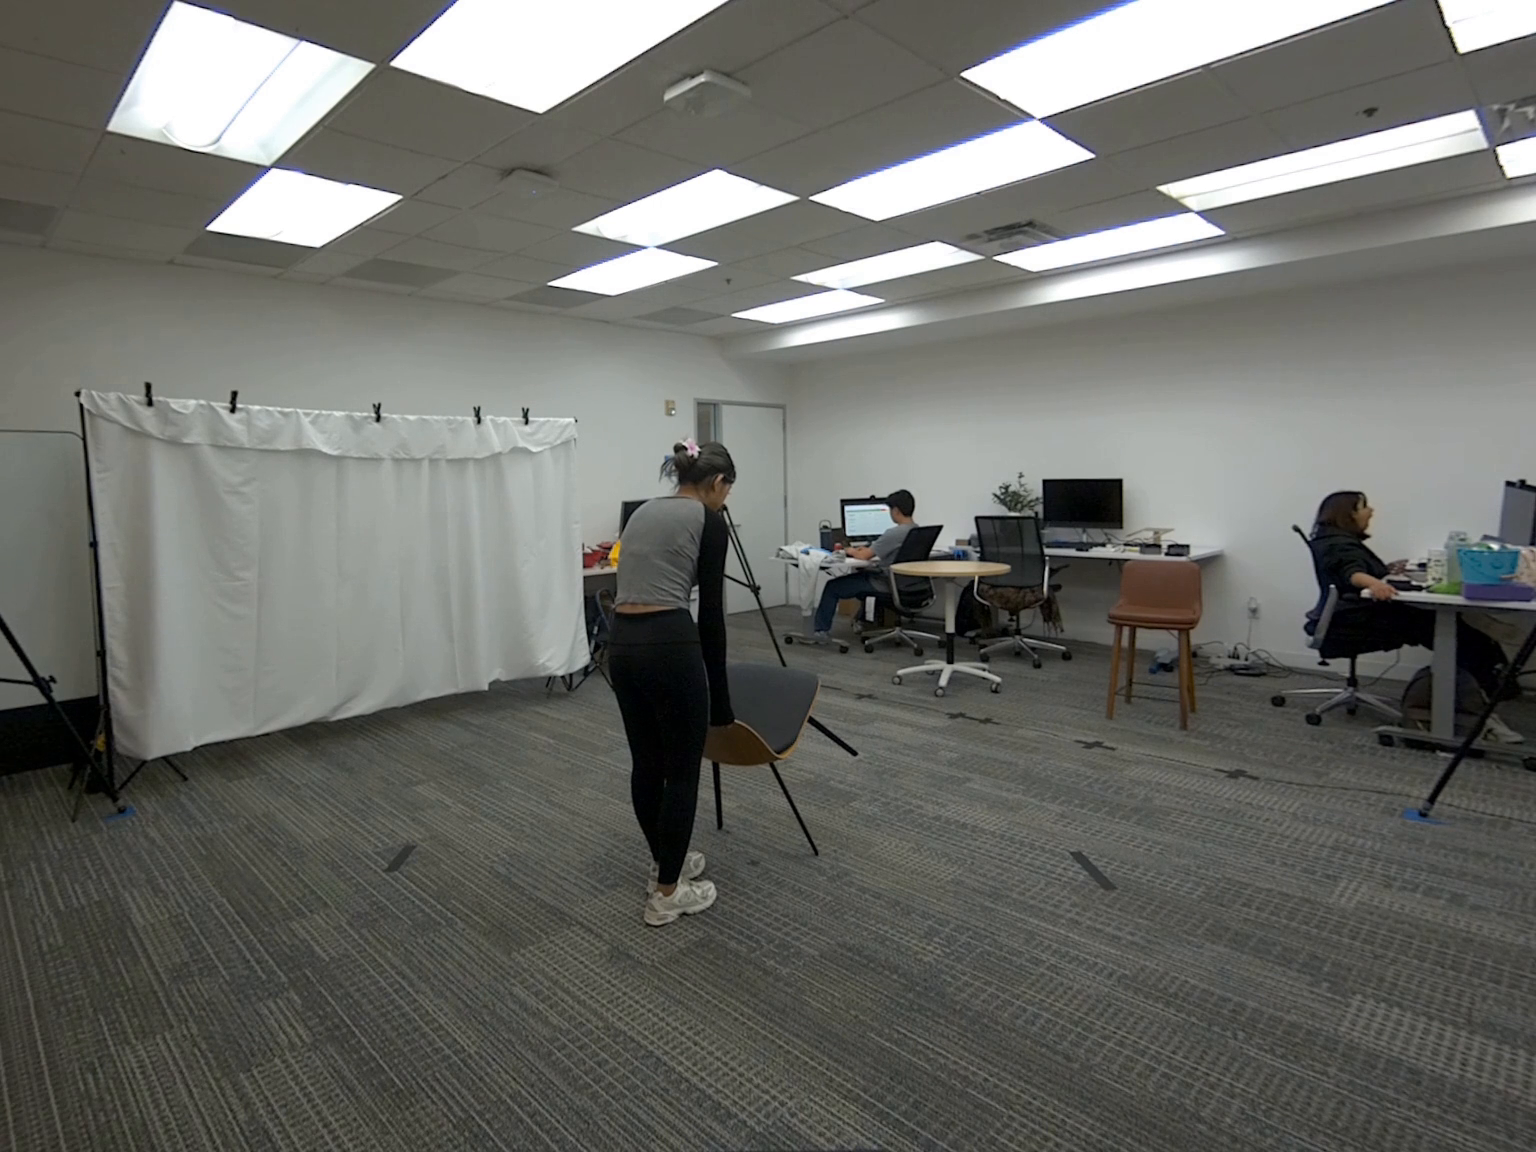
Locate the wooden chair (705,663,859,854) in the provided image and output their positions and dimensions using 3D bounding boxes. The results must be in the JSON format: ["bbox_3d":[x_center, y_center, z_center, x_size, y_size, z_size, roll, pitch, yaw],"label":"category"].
[{"bbox_3d":[-0.057,0.555,3.182,0.492,0.845,0.528,3,49,34],"label":"wooden chair"}]
